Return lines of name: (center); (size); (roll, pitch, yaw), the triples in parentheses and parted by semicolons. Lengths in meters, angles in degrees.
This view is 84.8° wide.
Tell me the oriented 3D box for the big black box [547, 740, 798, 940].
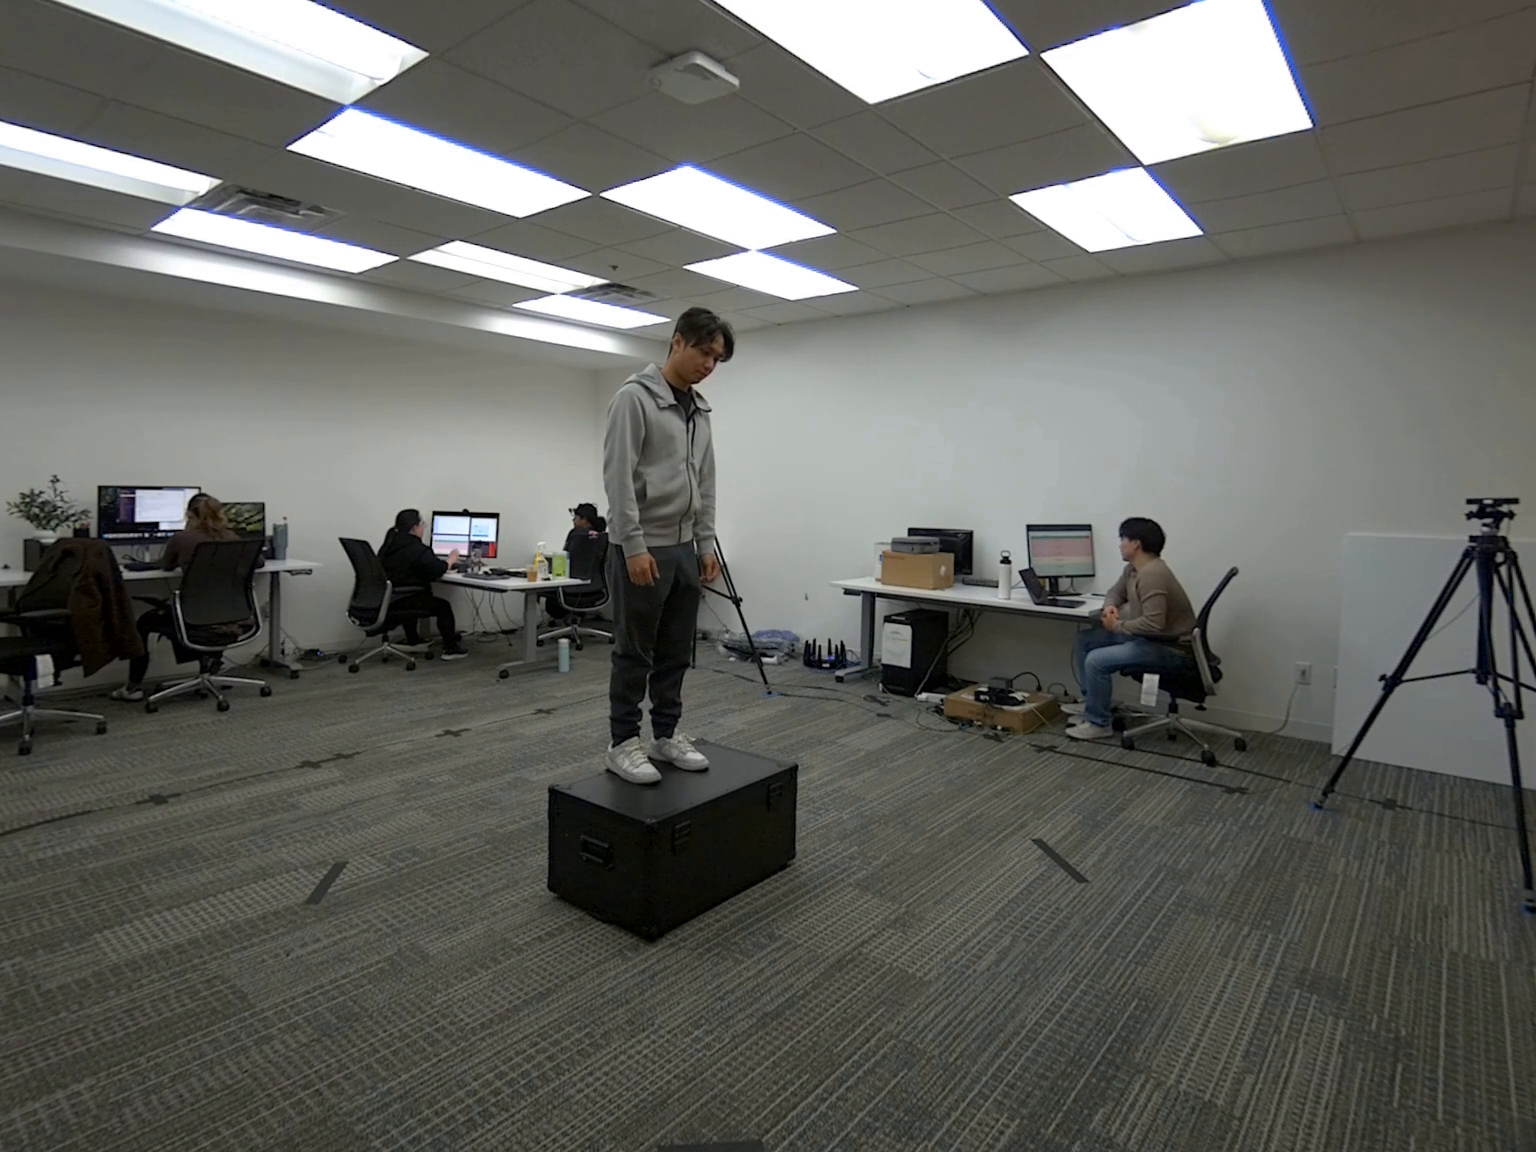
big black box: (-0.306, 0.882, 3.030); (0.538, 0.395, 0.837); (4, 6, 37)
